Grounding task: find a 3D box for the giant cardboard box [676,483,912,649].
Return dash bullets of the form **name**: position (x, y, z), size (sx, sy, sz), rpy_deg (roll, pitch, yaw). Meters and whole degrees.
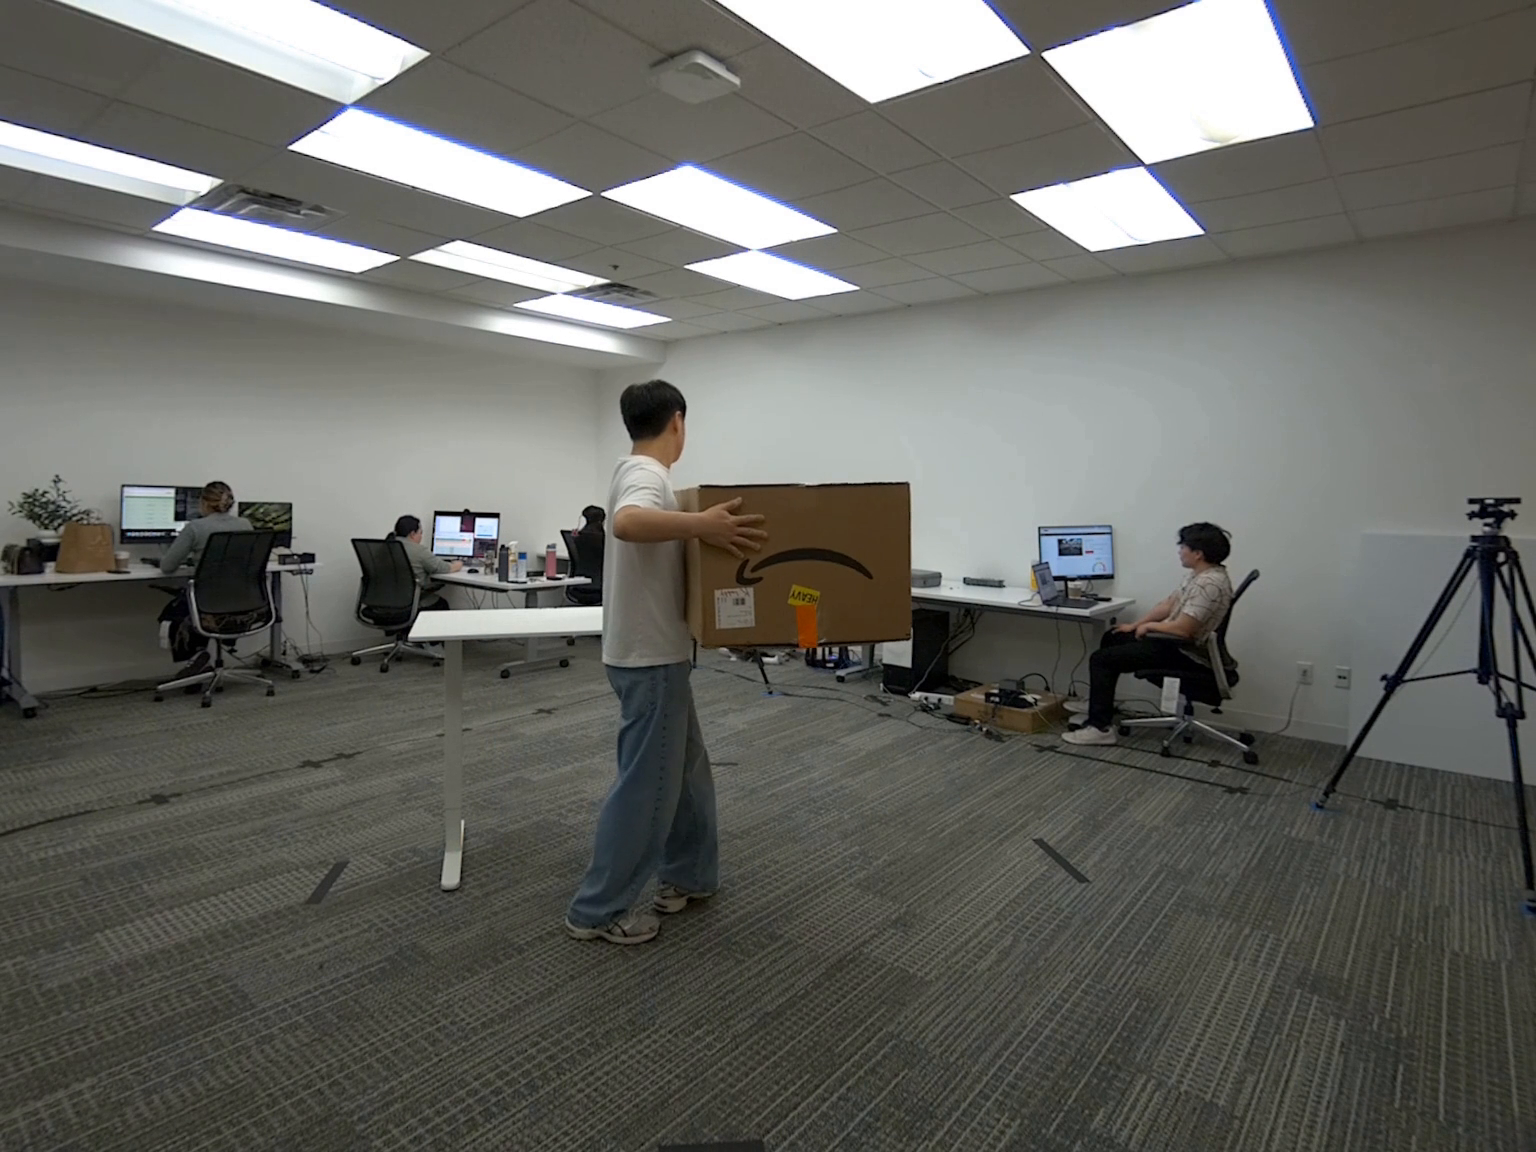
- **giant cardboard box**: position (0.008, -0.079, 2.744), size (0.572, 0.424, 1.040), rpy_deg (-2, 5, -10)
